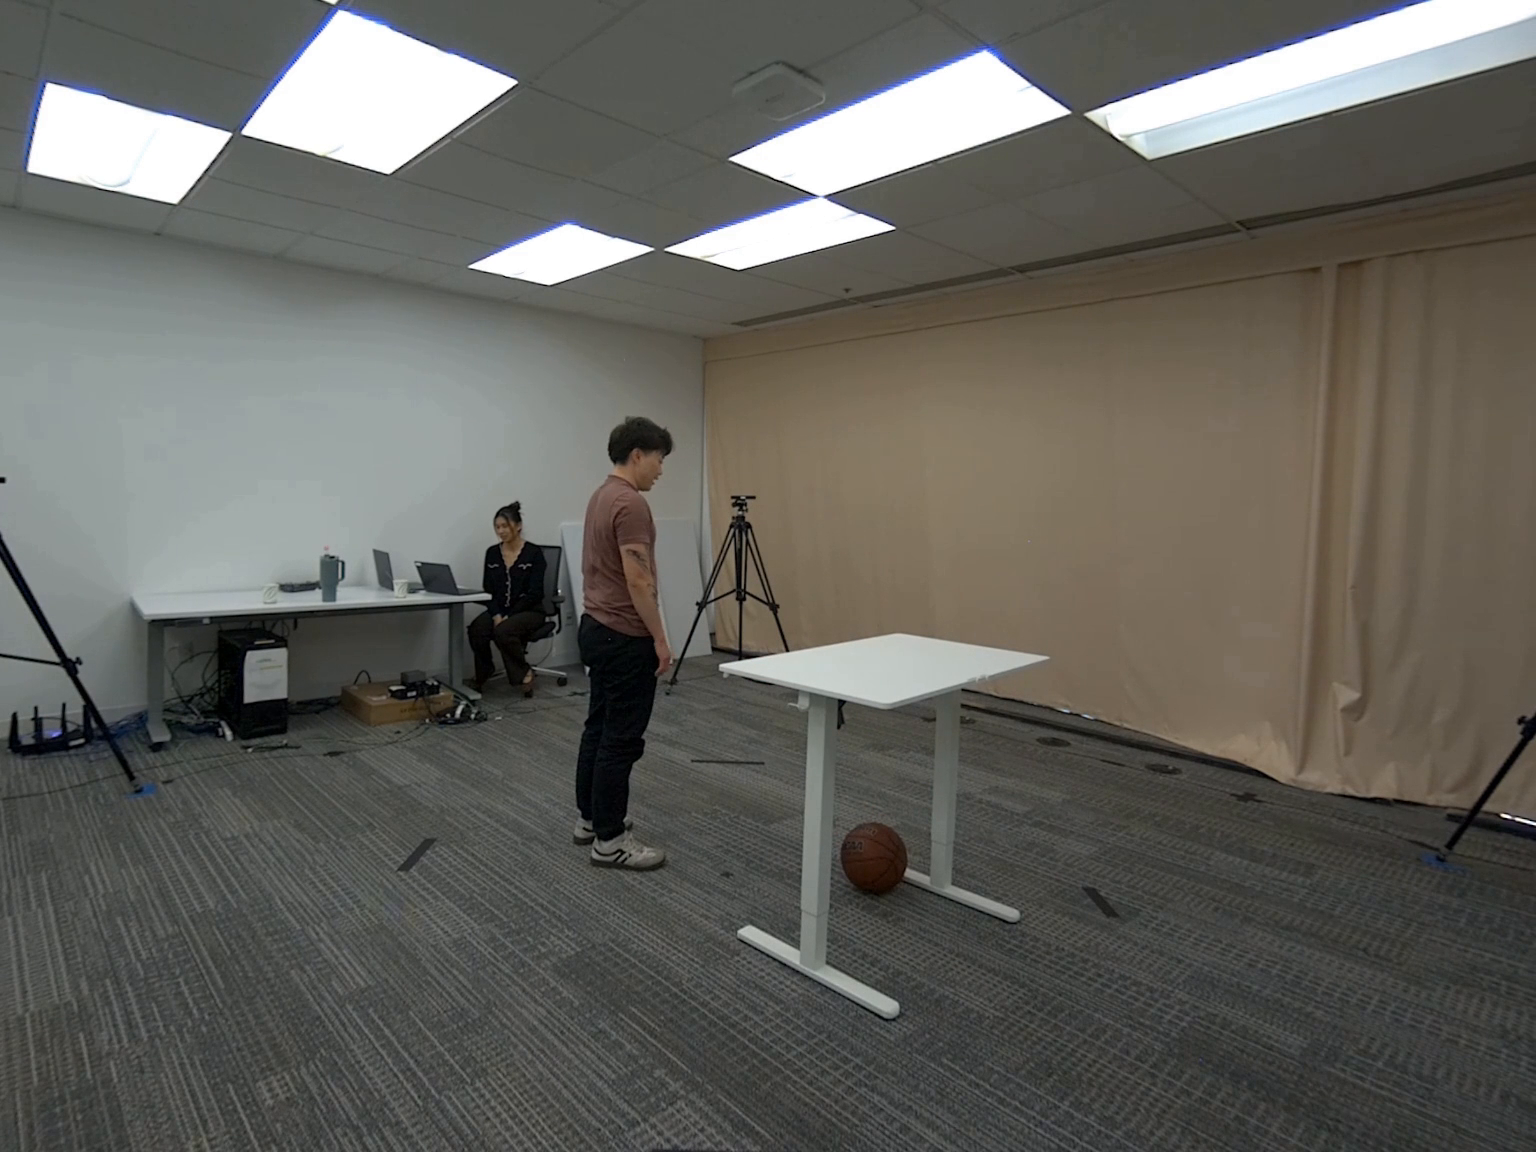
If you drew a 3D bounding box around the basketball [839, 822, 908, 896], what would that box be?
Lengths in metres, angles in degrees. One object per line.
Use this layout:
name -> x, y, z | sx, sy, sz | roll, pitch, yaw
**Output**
basketball -> 0.368, 1.009, 3.007 | 0.236, 0.235, 0.237 | 1, 4, -1
